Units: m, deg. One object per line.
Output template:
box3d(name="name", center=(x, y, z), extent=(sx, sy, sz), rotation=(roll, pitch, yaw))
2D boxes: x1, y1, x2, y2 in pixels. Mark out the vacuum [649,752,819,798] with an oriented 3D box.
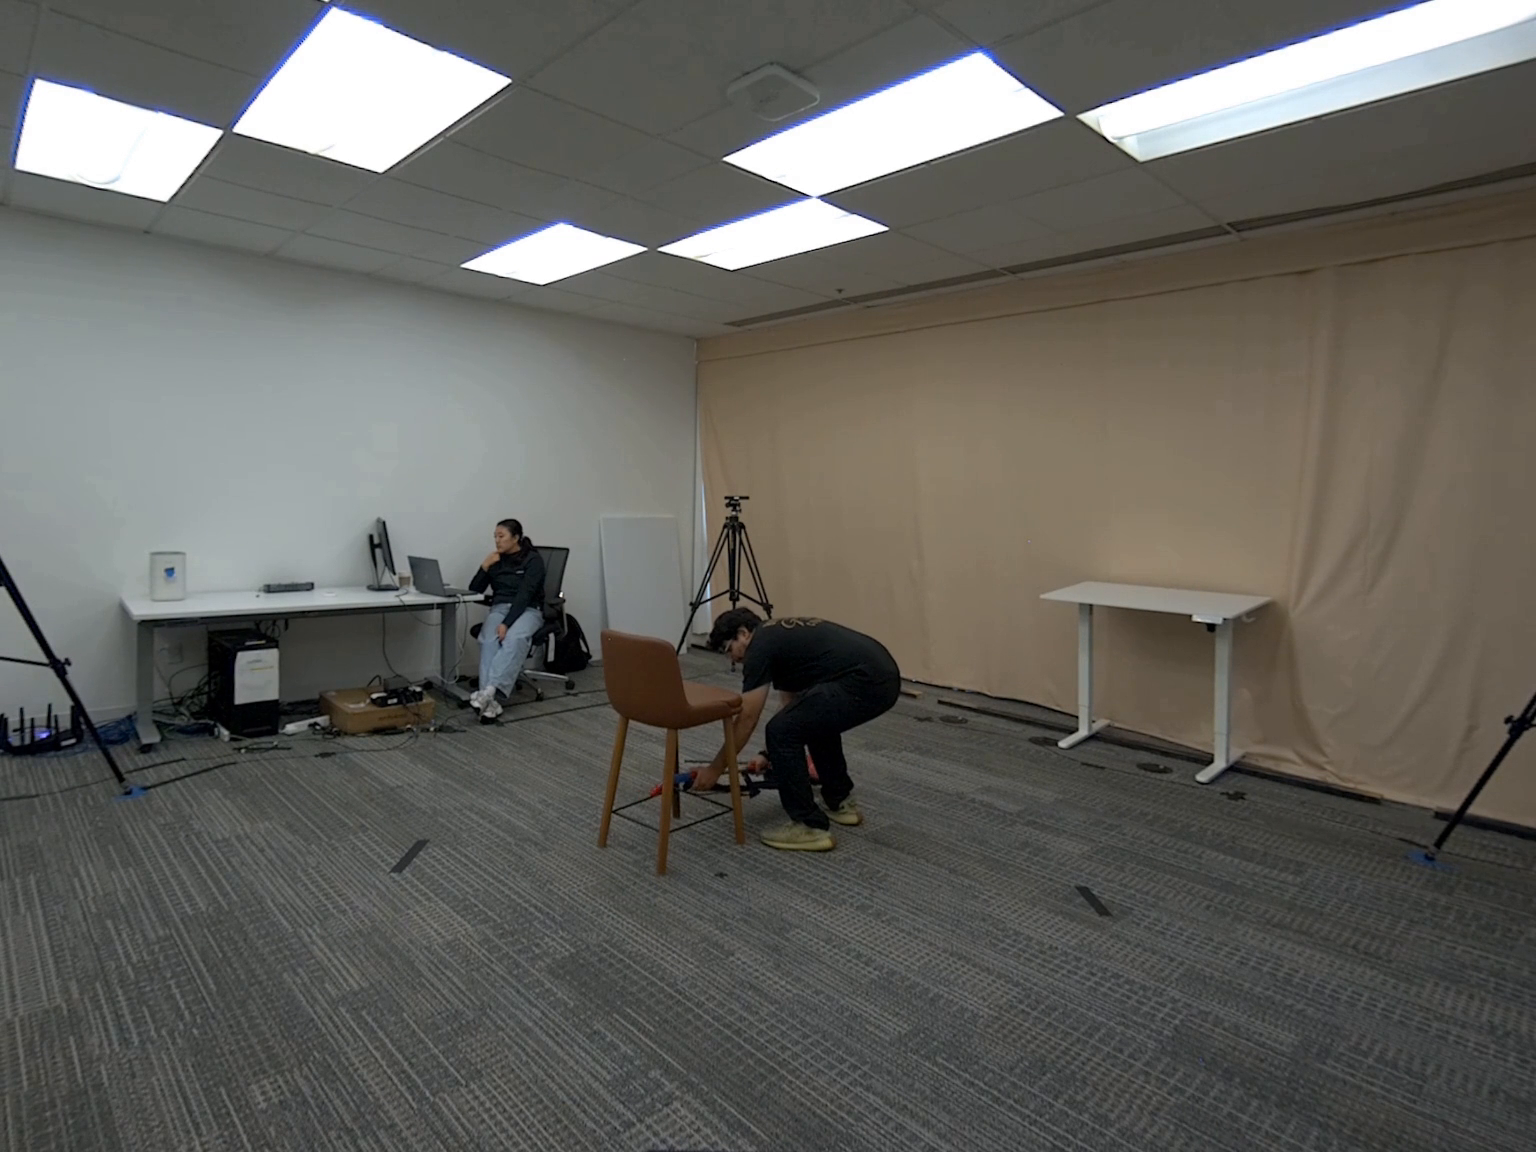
box3d(name="vacuum", center=(-0.102, 0.904, 3.691), extent=(0.258, 0.144, 1.023), rotation=(-3, -4, 44))
